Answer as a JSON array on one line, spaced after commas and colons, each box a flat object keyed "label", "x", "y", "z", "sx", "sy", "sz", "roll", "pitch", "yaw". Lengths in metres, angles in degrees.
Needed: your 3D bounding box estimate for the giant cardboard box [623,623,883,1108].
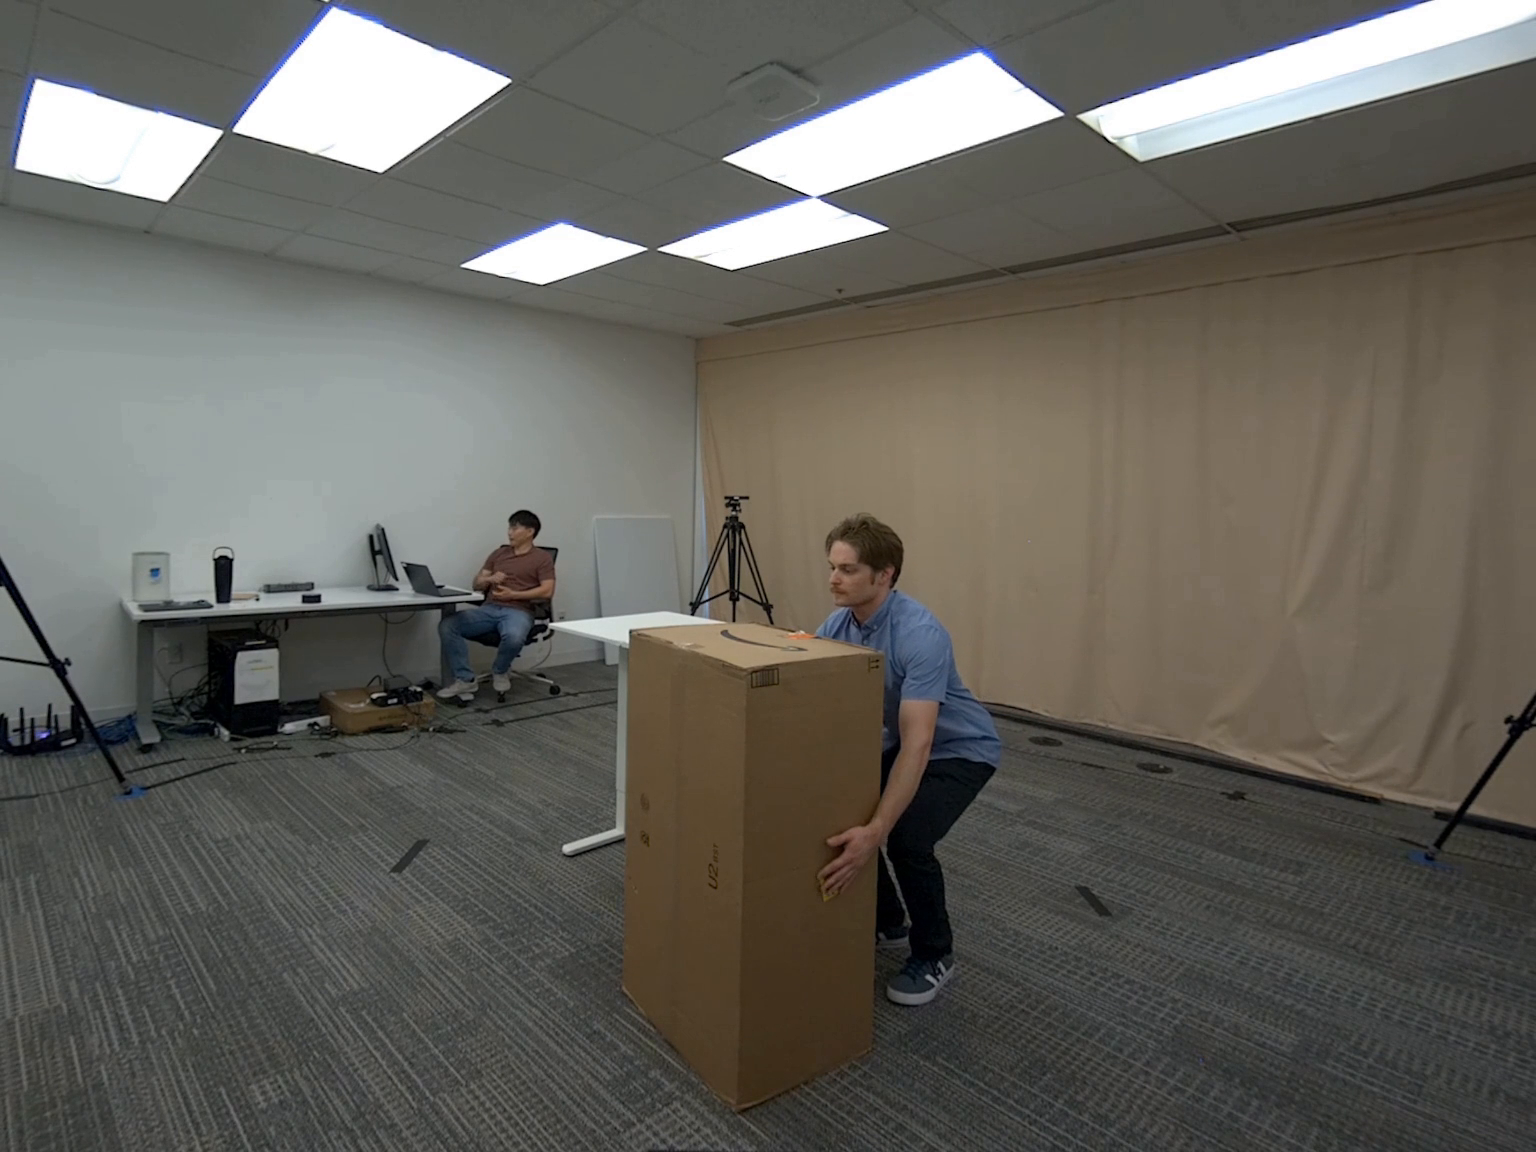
[{"label": "giant cardboard box", "x": -0.064, "y": 0.679, "z": 2.219, "sx": 0.417, "sy": 1.023, "sz": 0.592, "roll": -1, "pitch": 4, "yaw": -36}]
